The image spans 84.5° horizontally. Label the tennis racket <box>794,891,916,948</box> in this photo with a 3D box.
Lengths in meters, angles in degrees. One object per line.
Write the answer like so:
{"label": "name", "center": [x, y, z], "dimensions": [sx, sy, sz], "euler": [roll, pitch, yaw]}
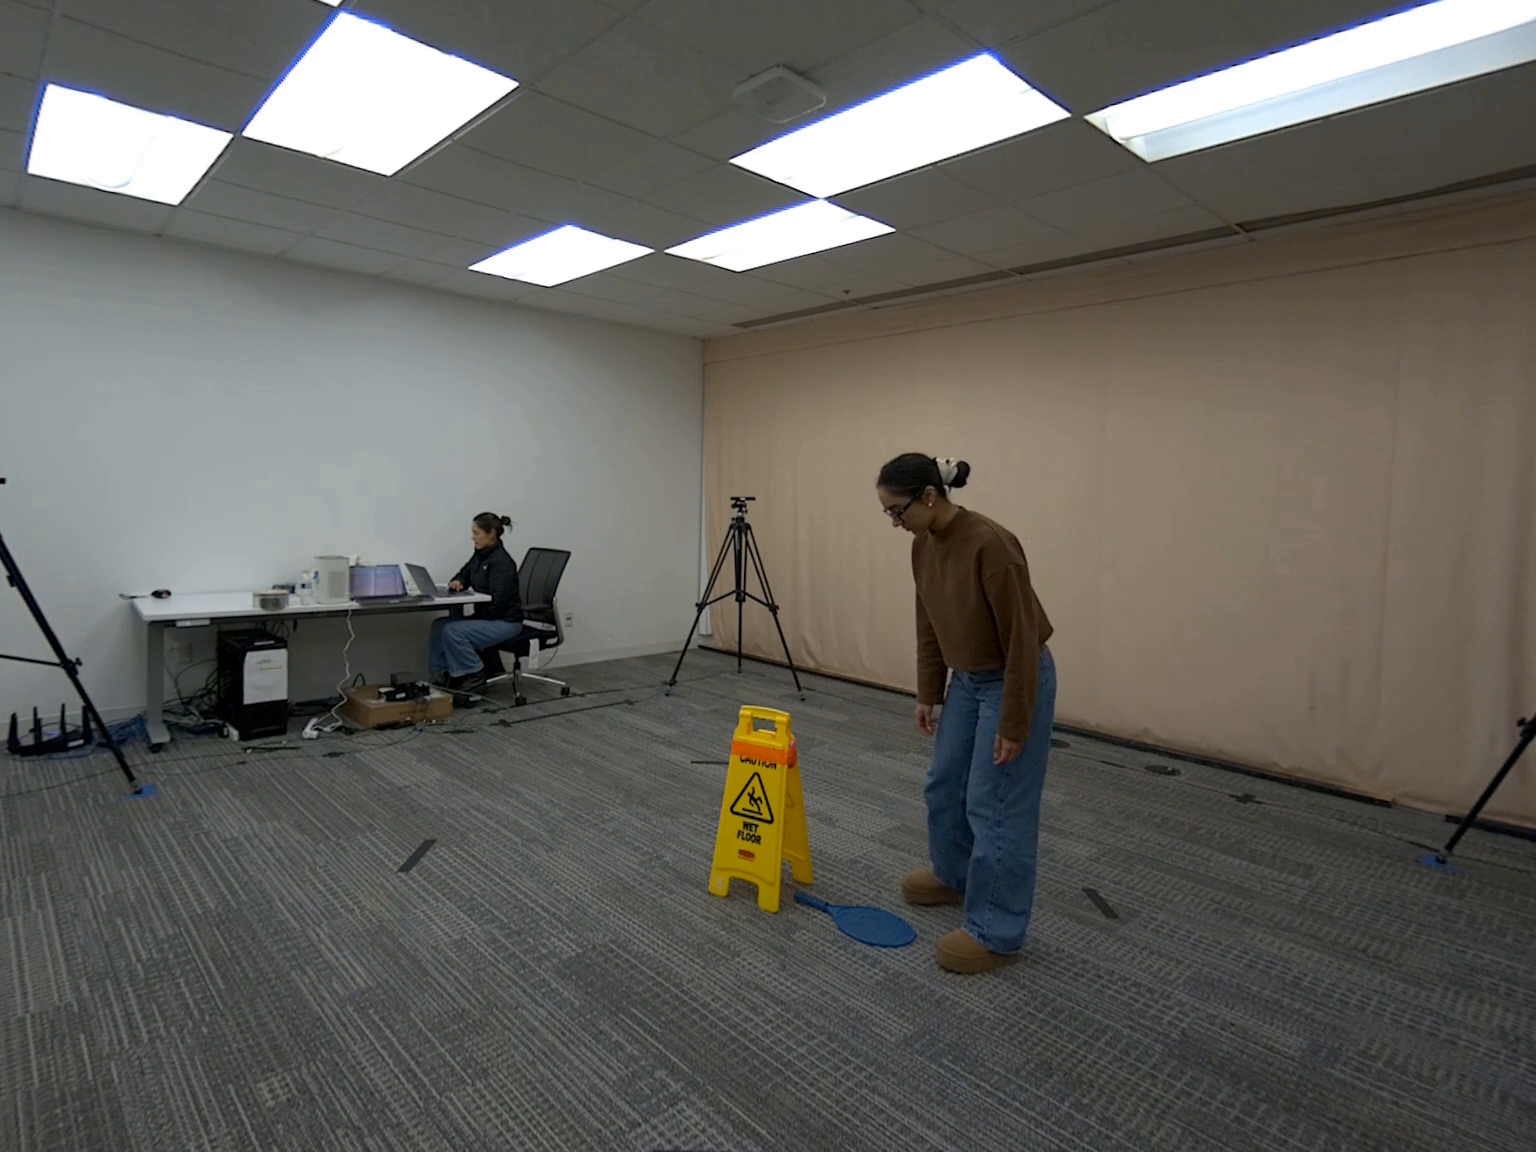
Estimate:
{"label": "tennis racket", "center": [0.267, 1.128, 2.799], "dimensions": [0.444, 0.031, 0.209], "euler": [7, 8, 36]}
